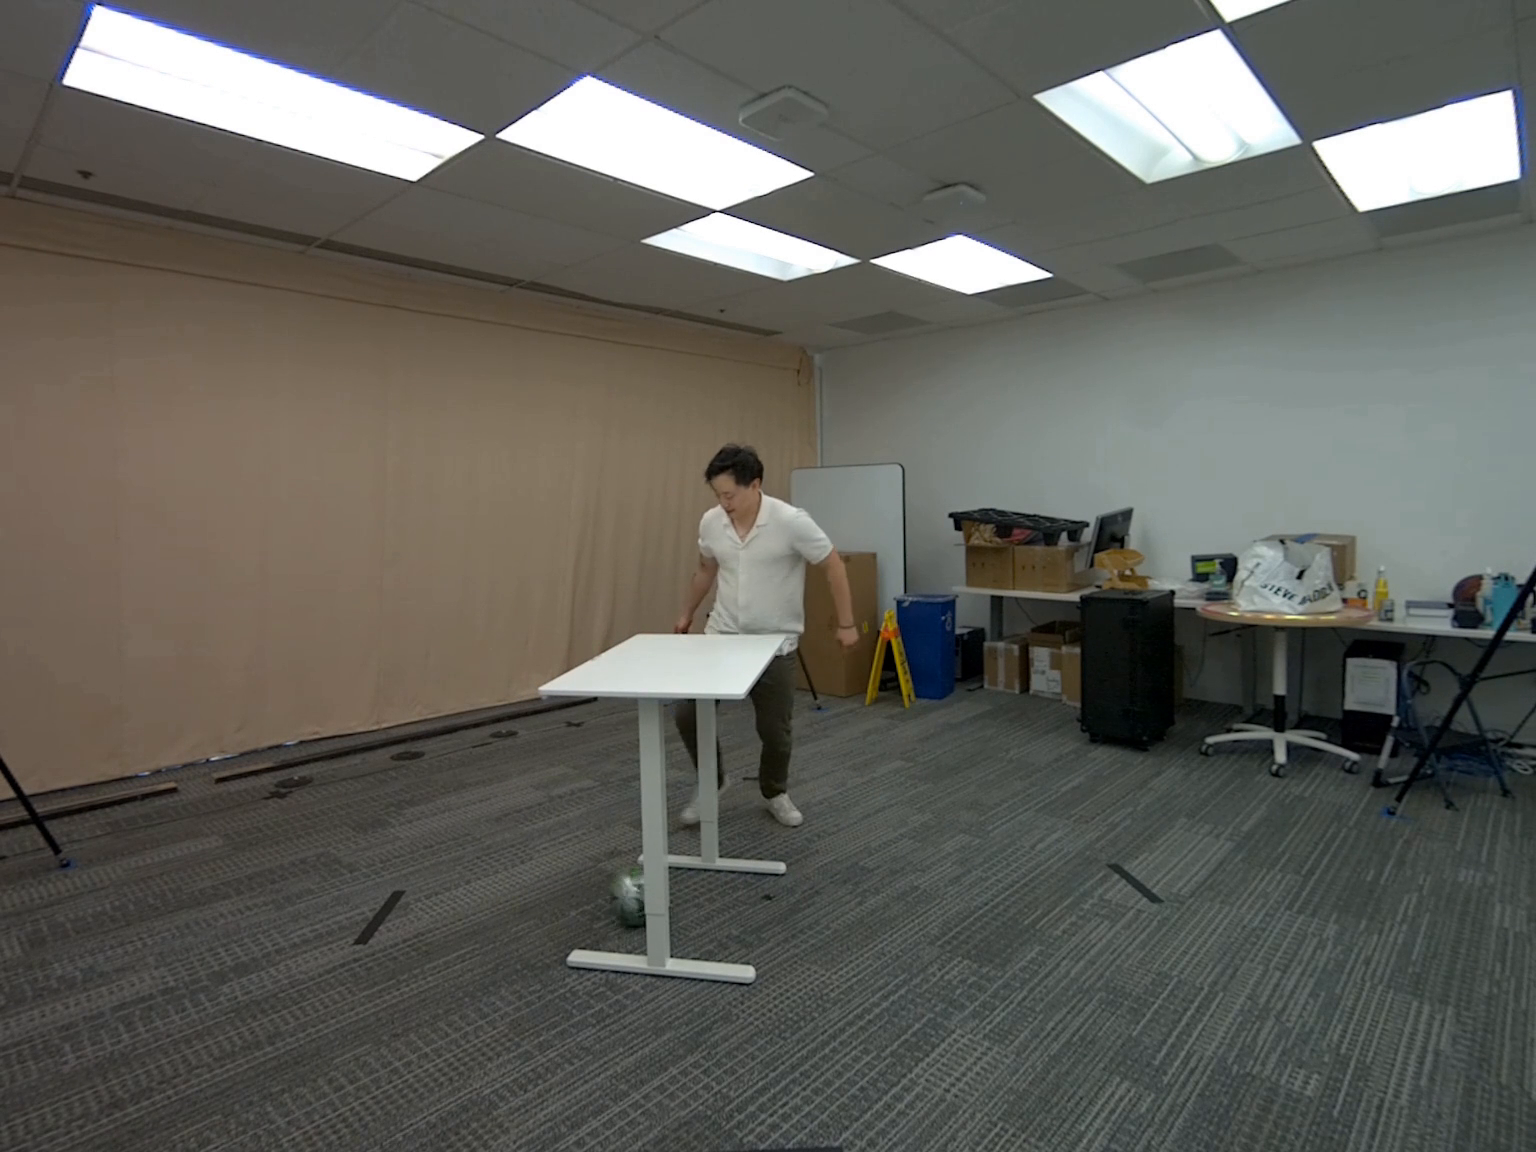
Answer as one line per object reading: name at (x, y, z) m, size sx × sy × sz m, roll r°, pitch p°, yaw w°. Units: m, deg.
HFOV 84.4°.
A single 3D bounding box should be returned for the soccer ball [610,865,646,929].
soccer ball at (-0.438, 1.066, 2.825) m, size 0.187 × 0.187 × 0.188 m, roll -1°, pitch 4°, yaw -2°
